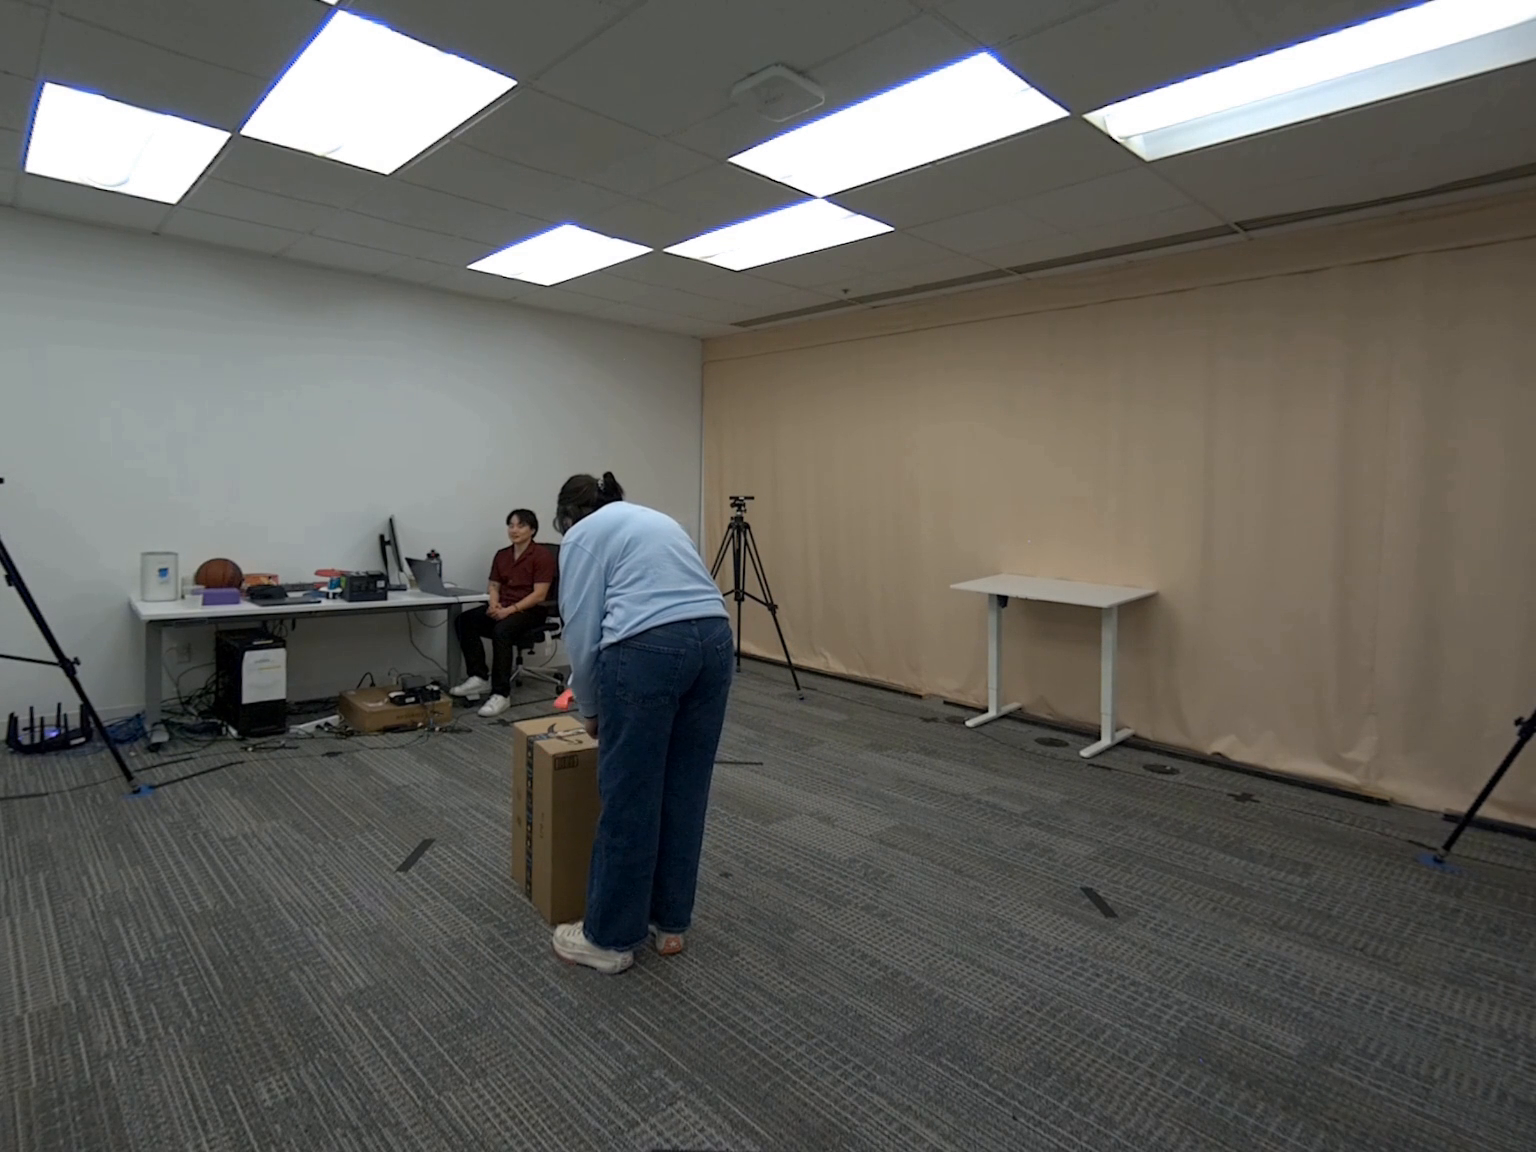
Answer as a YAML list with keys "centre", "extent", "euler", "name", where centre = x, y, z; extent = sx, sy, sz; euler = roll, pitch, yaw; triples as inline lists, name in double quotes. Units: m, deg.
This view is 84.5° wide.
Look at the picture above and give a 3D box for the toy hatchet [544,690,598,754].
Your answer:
- centre: [-0.630, 0.460, 2.736]
  extent: [0.130, 0.029, 0.278]
  euler: [-17, 29, -18]
  name: "toy hatchet"
